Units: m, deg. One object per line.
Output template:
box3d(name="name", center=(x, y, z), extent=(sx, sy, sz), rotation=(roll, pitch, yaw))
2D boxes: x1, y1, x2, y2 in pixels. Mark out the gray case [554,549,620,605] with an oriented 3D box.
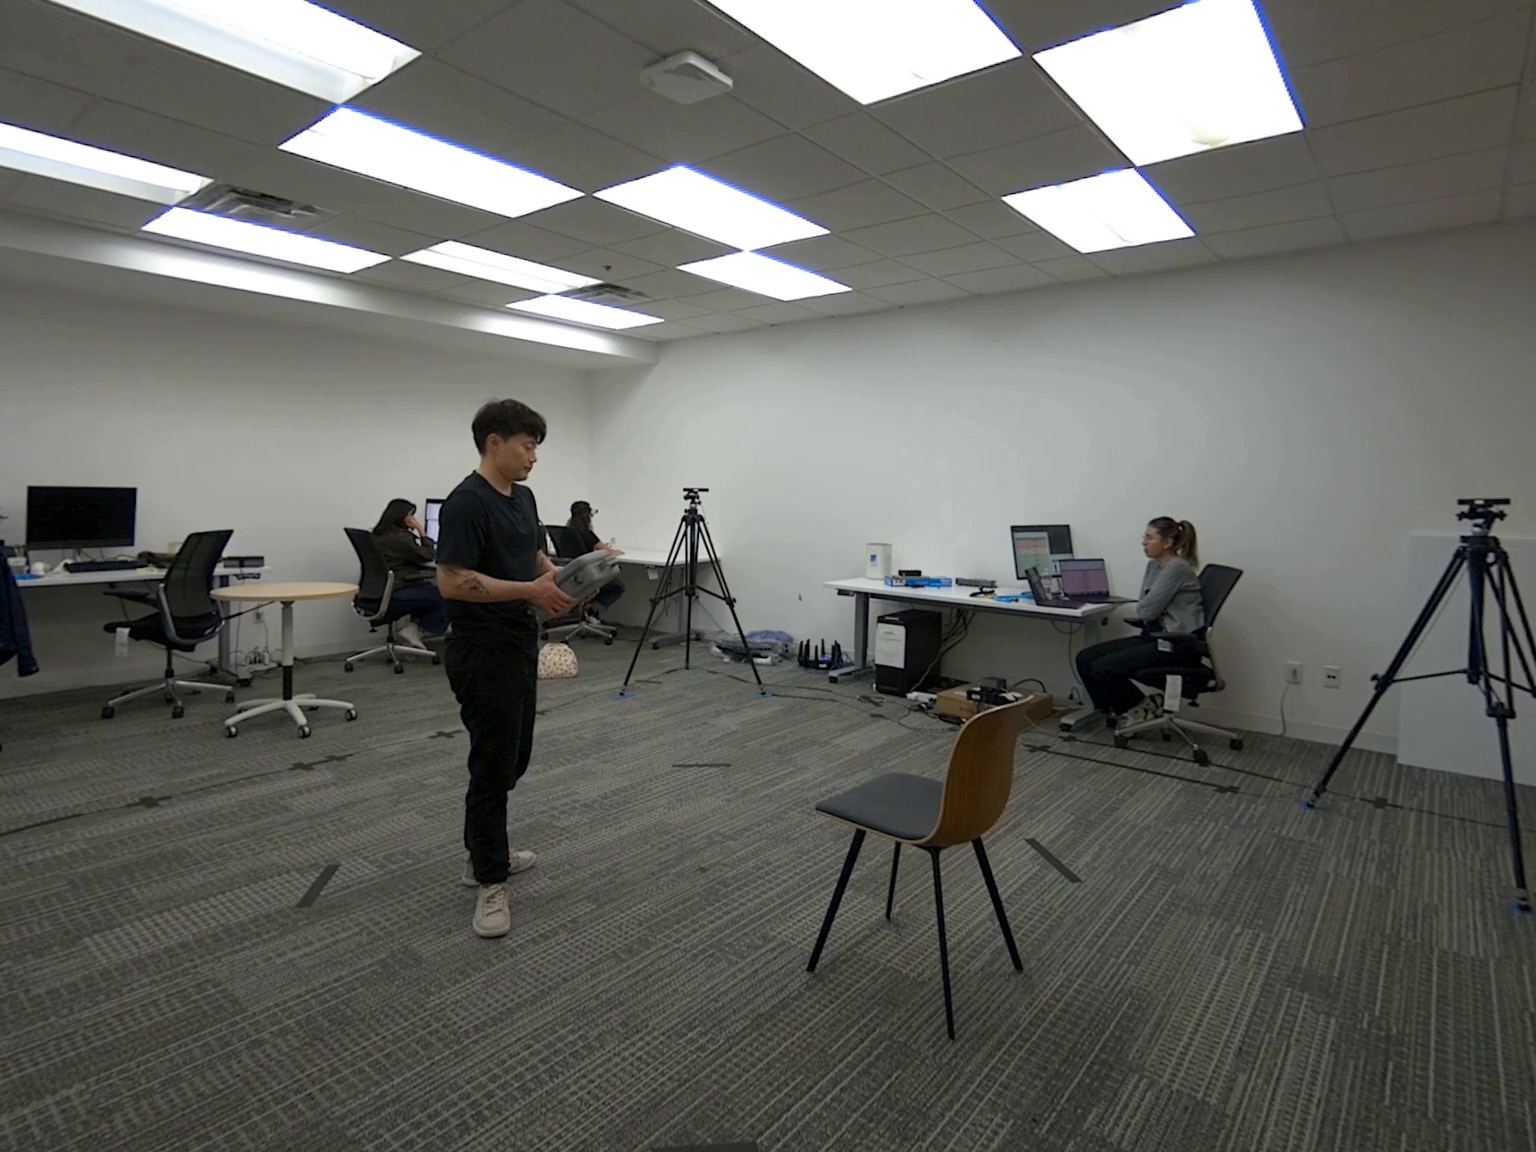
box3d(name="gray case", center=(-0.644, 0.017, 2.821), extent=(0.261, 0.105, 0.255), rotation=(-36, -1, 13))
